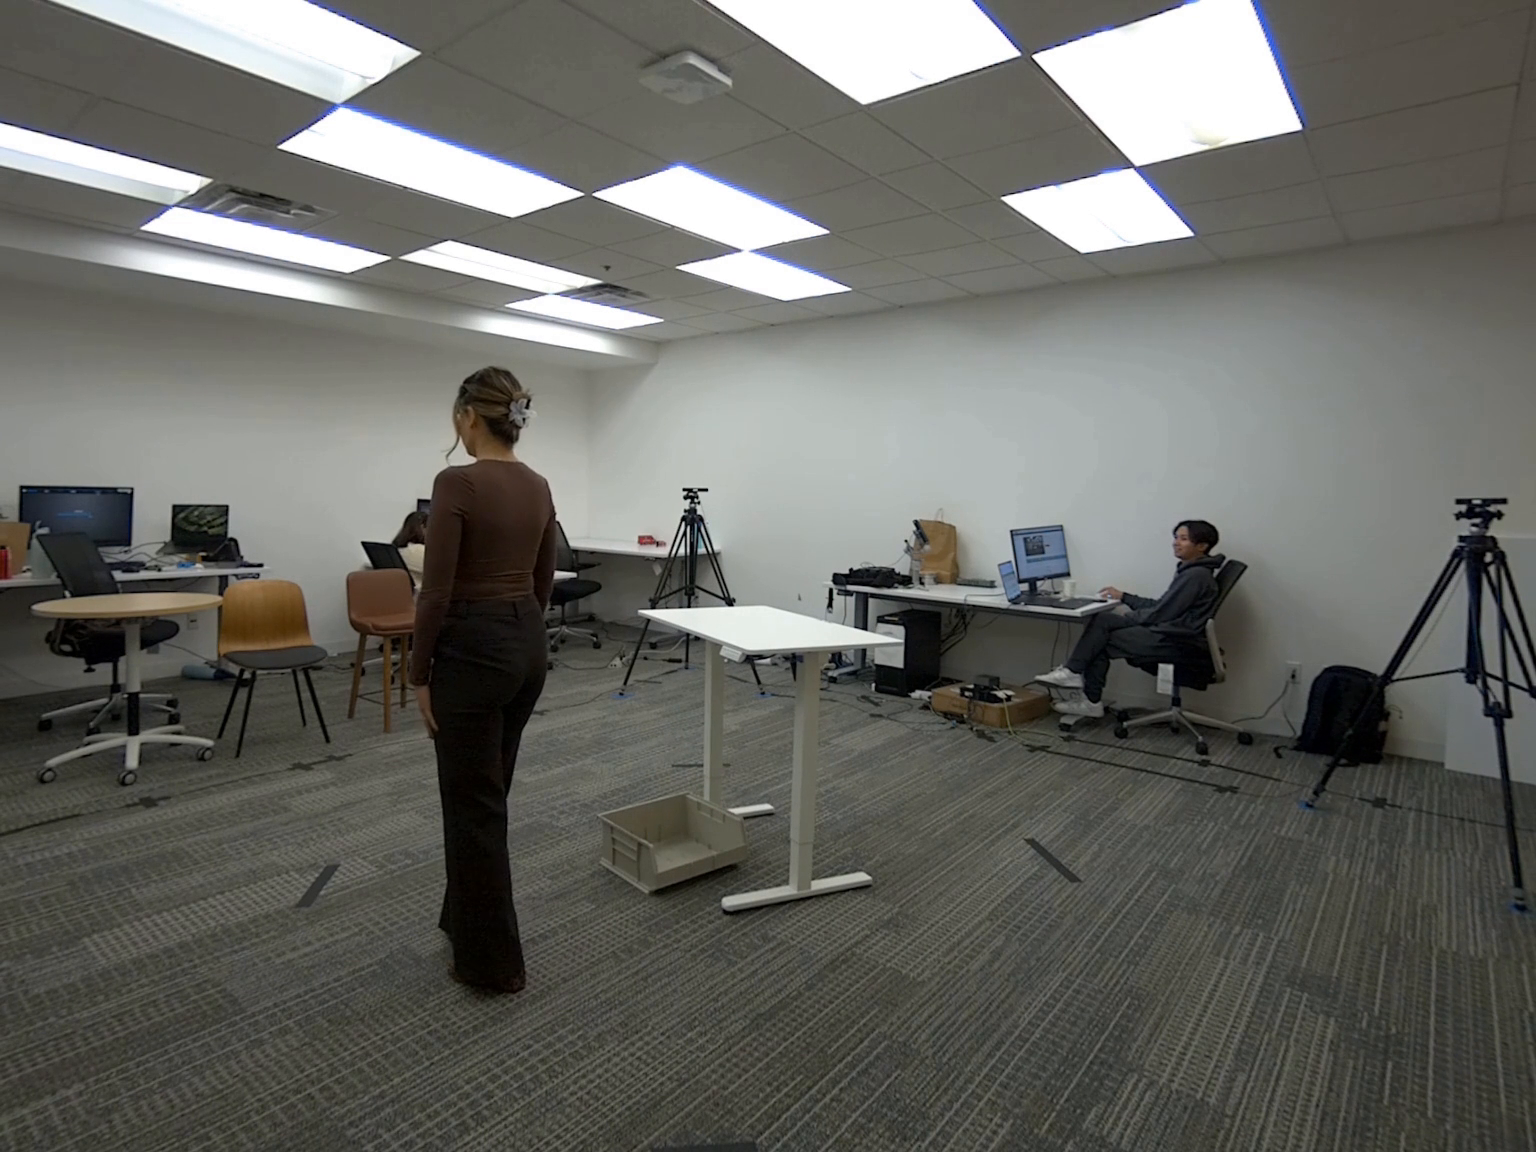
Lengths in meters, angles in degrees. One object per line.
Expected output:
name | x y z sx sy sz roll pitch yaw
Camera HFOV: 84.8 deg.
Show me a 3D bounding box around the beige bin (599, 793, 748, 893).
beige bin | -0.361 0.978 3.133 0.410 0.188 0.390 -4 6 -41
